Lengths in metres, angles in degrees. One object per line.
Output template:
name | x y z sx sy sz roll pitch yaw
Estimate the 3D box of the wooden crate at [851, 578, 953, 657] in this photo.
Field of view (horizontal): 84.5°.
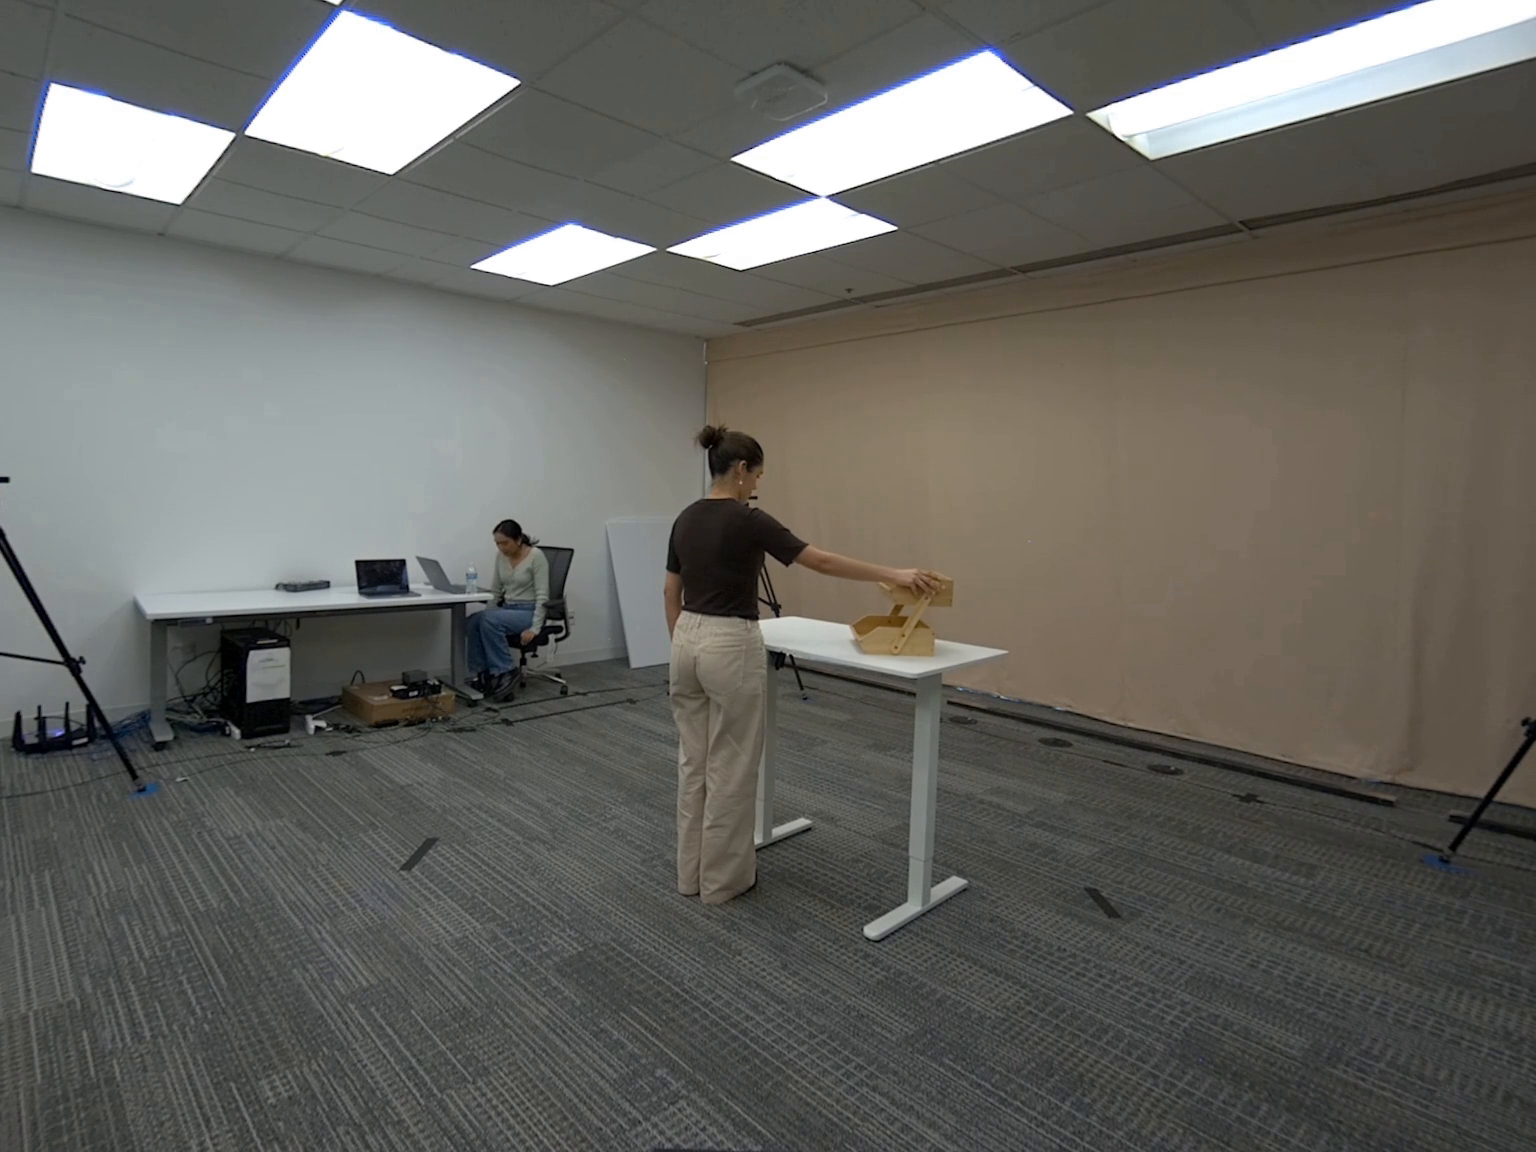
wooden crate | 0.450 0.121 2.929 0.302 0.272 0.326 4 7 -1
